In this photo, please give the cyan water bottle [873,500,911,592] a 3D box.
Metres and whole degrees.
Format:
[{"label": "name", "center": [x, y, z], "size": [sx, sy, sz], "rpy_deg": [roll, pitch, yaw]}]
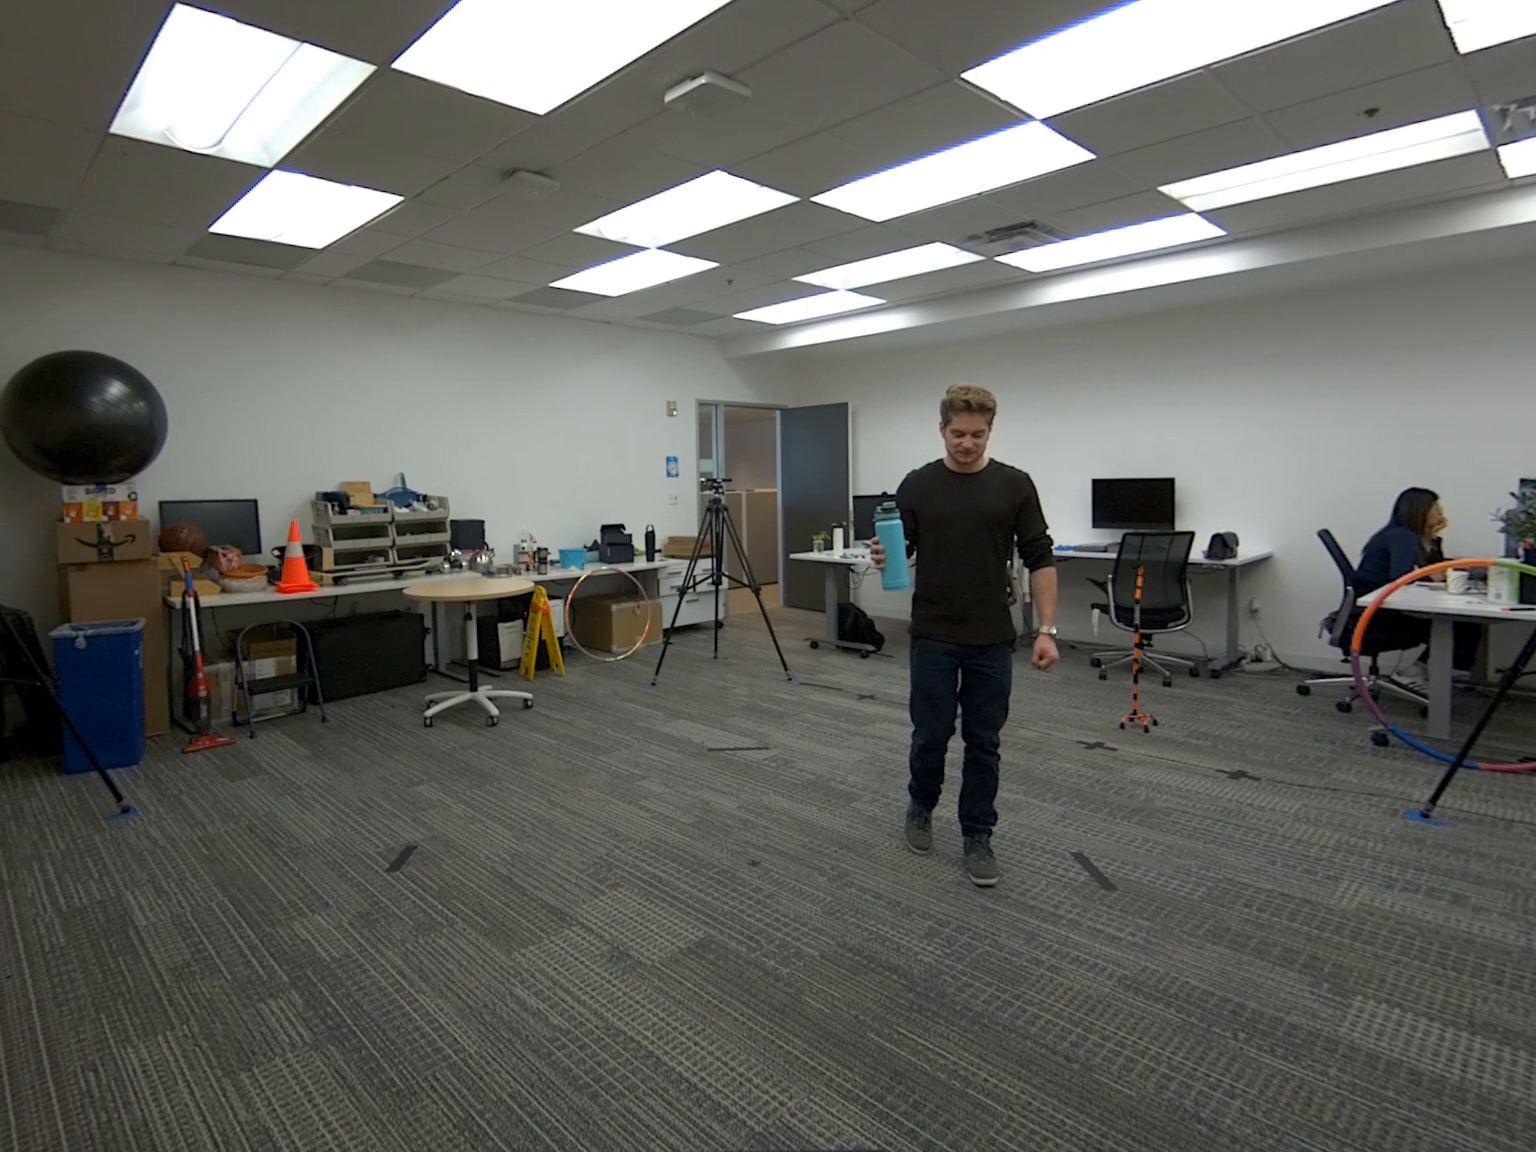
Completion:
[{"label": "cyan water bottle", "center": [0.402, -0.099, 2.791], "size": [0.092, 0.283, 0.092], "rpy_deg": [-7, 0, -2]}]
